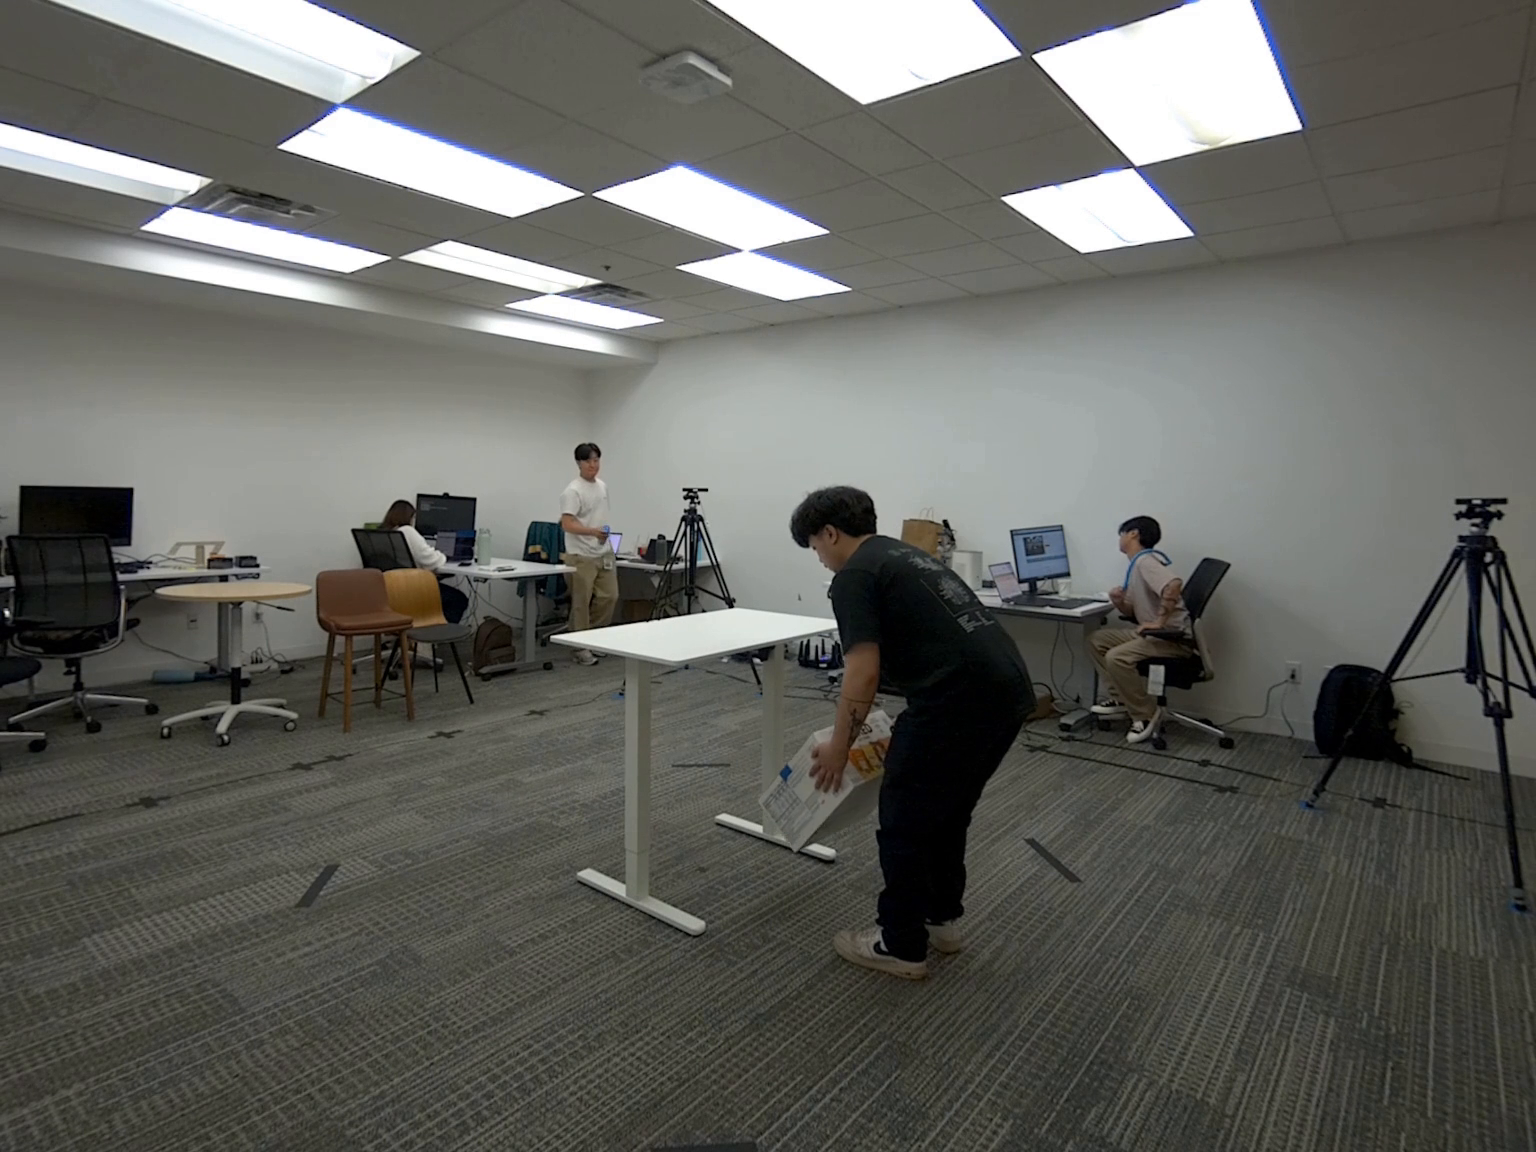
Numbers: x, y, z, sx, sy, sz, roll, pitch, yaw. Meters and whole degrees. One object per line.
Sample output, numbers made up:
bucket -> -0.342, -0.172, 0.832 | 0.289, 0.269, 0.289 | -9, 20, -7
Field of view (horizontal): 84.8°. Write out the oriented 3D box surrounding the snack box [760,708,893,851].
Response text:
snack box -> 0.228, 0.647, 2.748 | 0.393, 0.338, 0.213 | -5, 46, -50
